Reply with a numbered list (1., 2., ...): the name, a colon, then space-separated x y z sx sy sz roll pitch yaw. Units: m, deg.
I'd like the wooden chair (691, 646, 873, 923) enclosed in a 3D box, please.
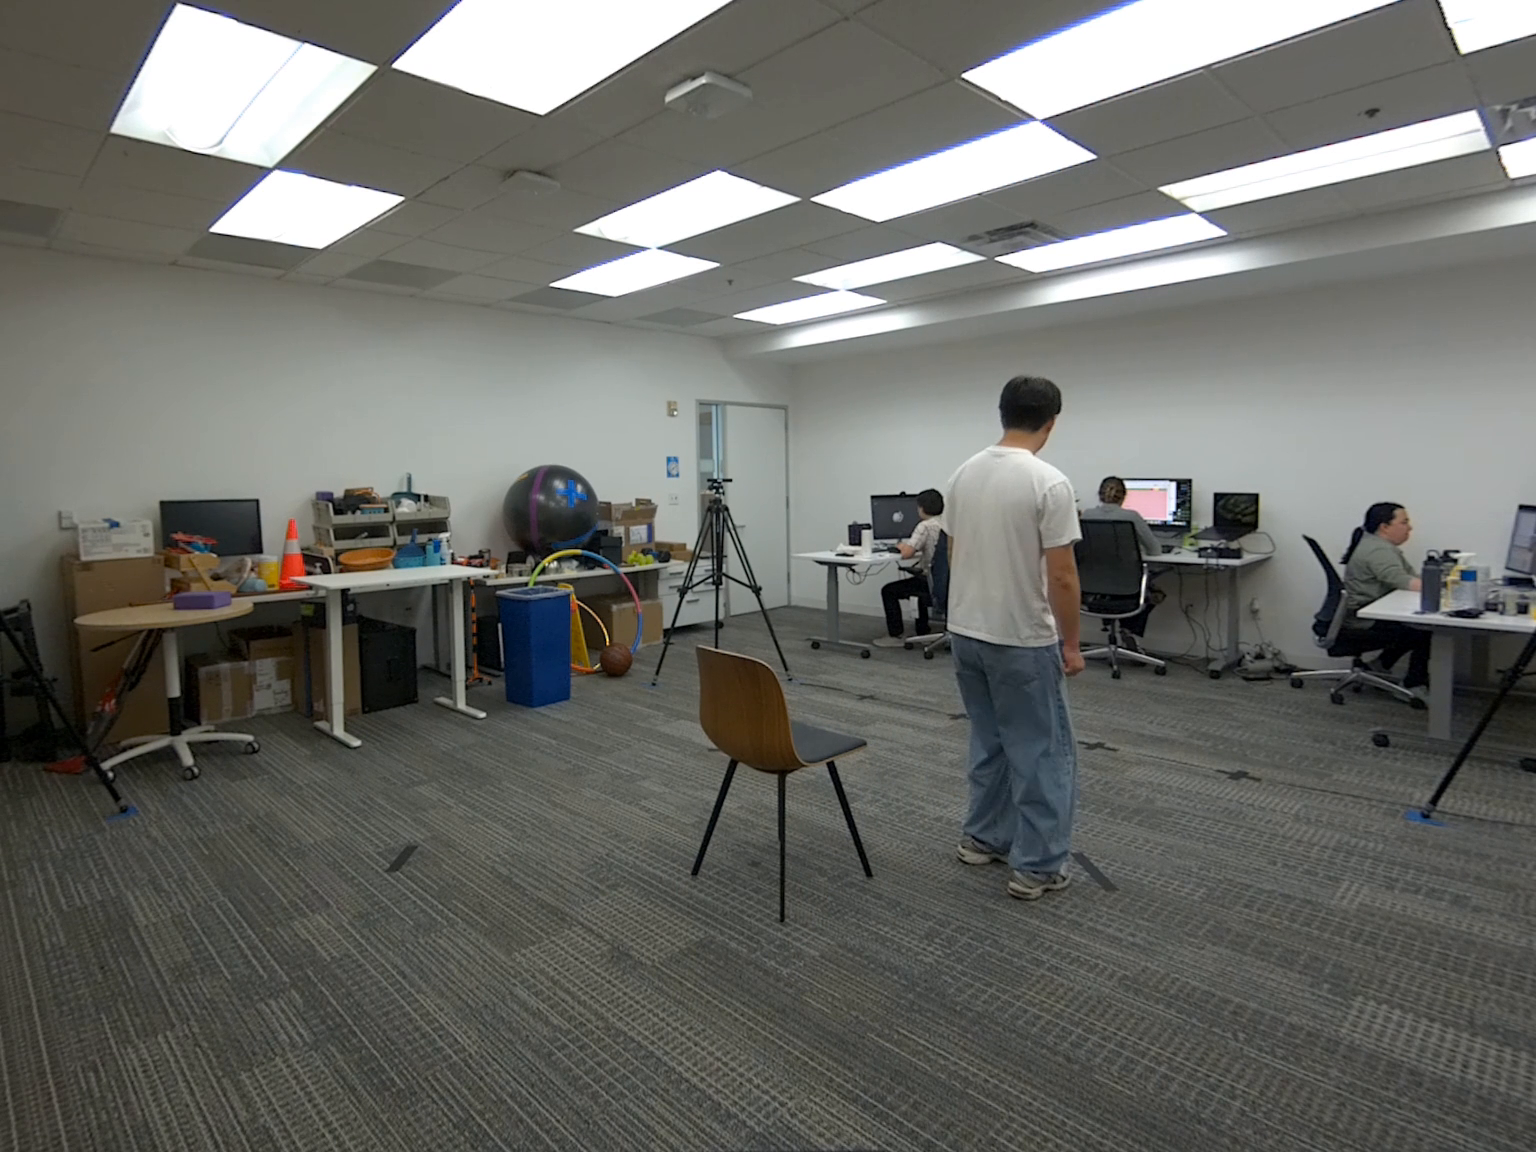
1. wooden chair: 0.051 0.631 2.971 0.511 0.871 0.493 -10 10 -43
